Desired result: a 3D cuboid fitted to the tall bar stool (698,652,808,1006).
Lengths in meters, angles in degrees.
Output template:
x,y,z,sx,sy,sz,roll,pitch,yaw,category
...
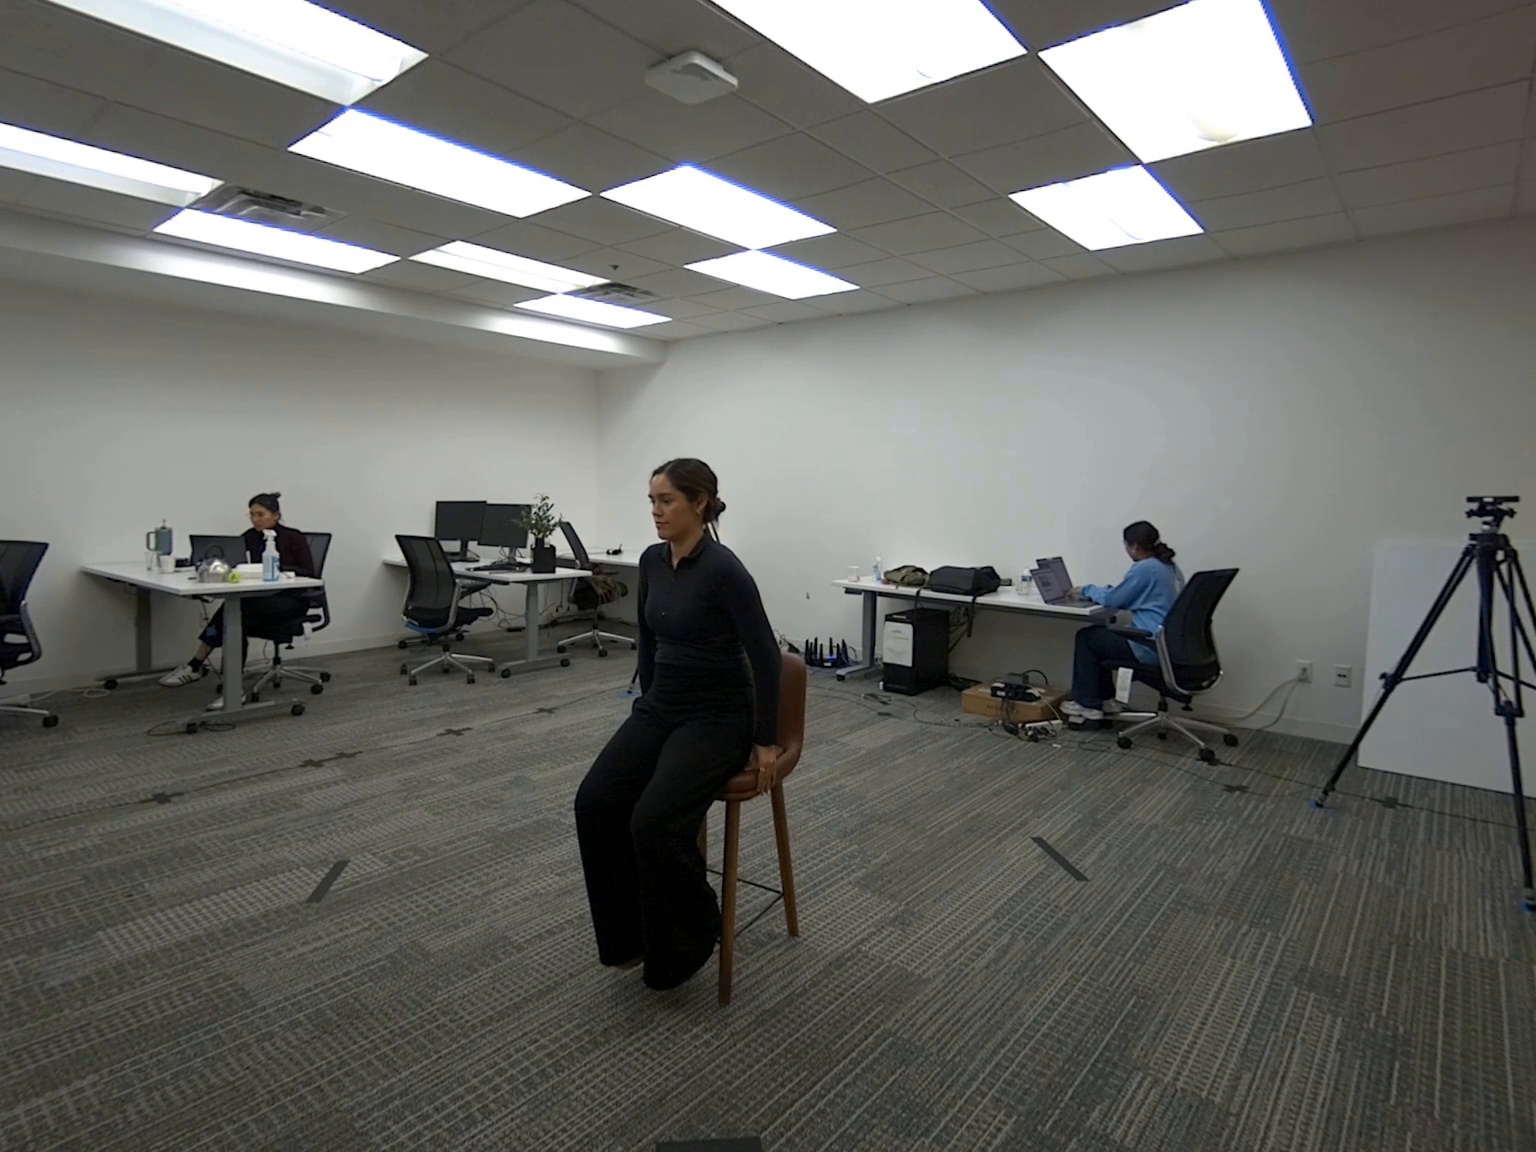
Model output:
x,y,z,sx,sy,sz,roll,pitch,yaw,category
-0.169,0.686,2.557,0.471,0.888,0.454,4,3,32,tall bar stool
